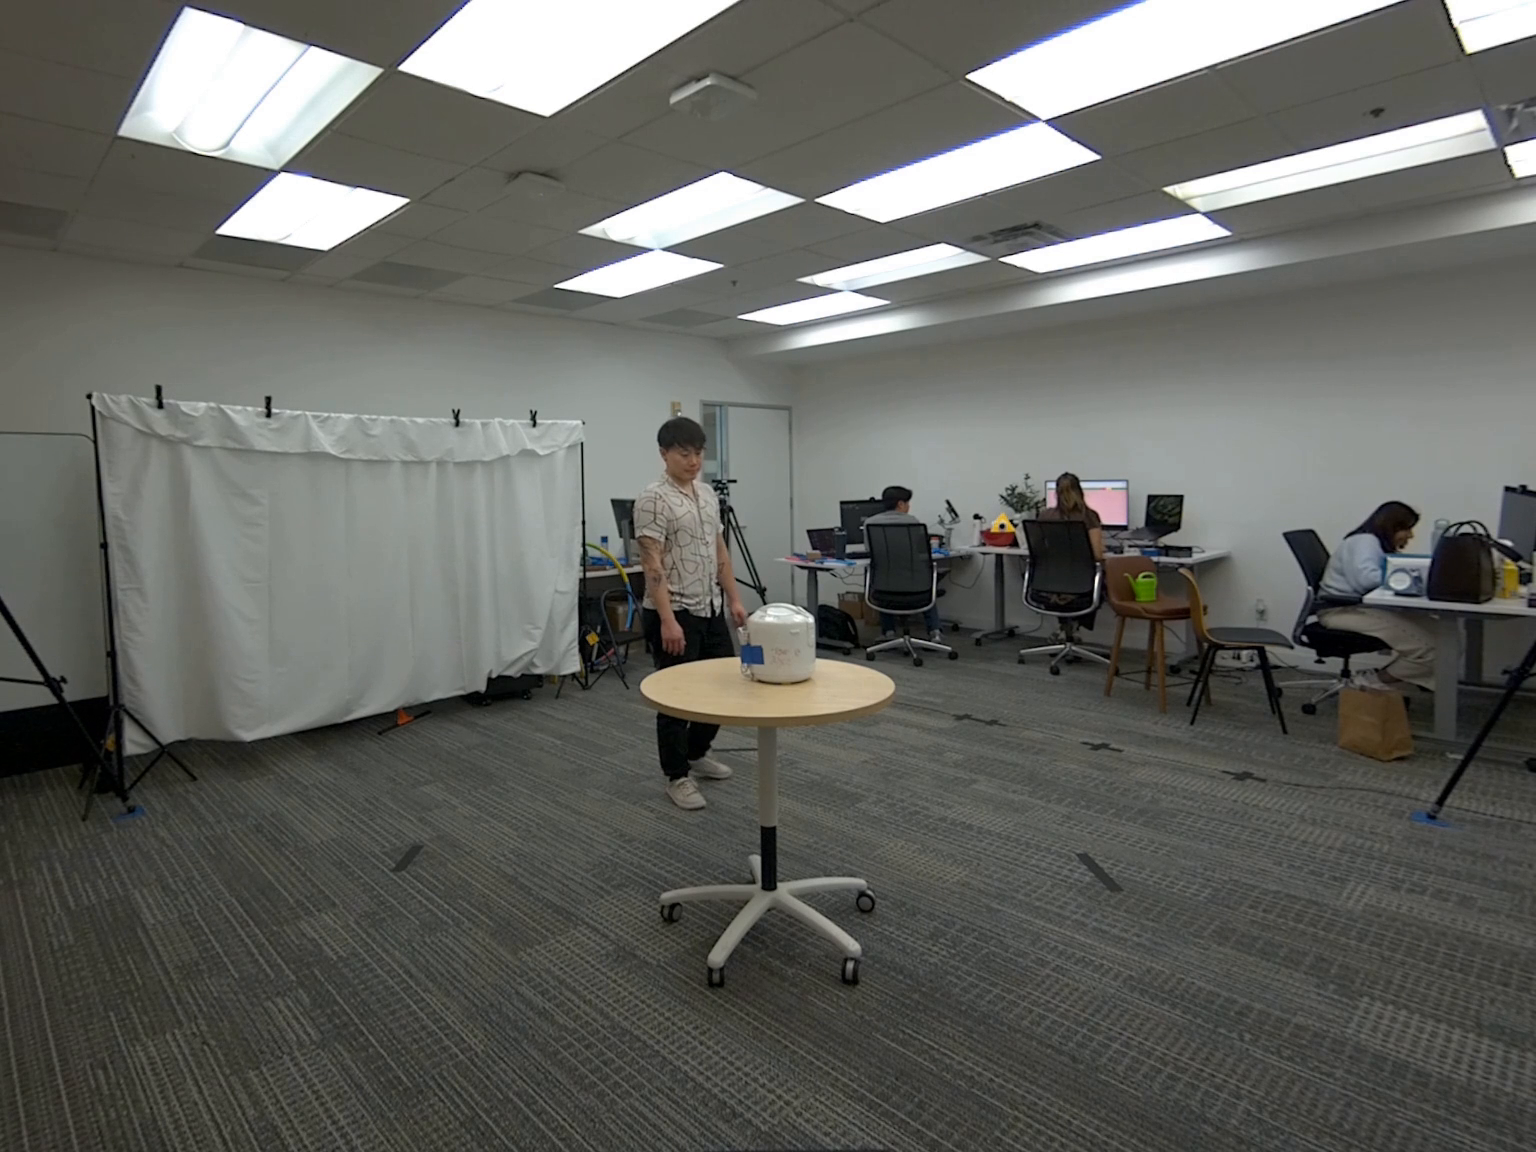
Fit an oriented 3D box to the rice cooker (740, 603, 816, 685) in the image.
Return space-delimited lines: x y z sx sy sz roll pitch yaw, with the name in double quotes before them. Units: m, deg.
"rice cooker" 0.044 0.202 2.639 0.226 0.232 0.213 3 7 31
